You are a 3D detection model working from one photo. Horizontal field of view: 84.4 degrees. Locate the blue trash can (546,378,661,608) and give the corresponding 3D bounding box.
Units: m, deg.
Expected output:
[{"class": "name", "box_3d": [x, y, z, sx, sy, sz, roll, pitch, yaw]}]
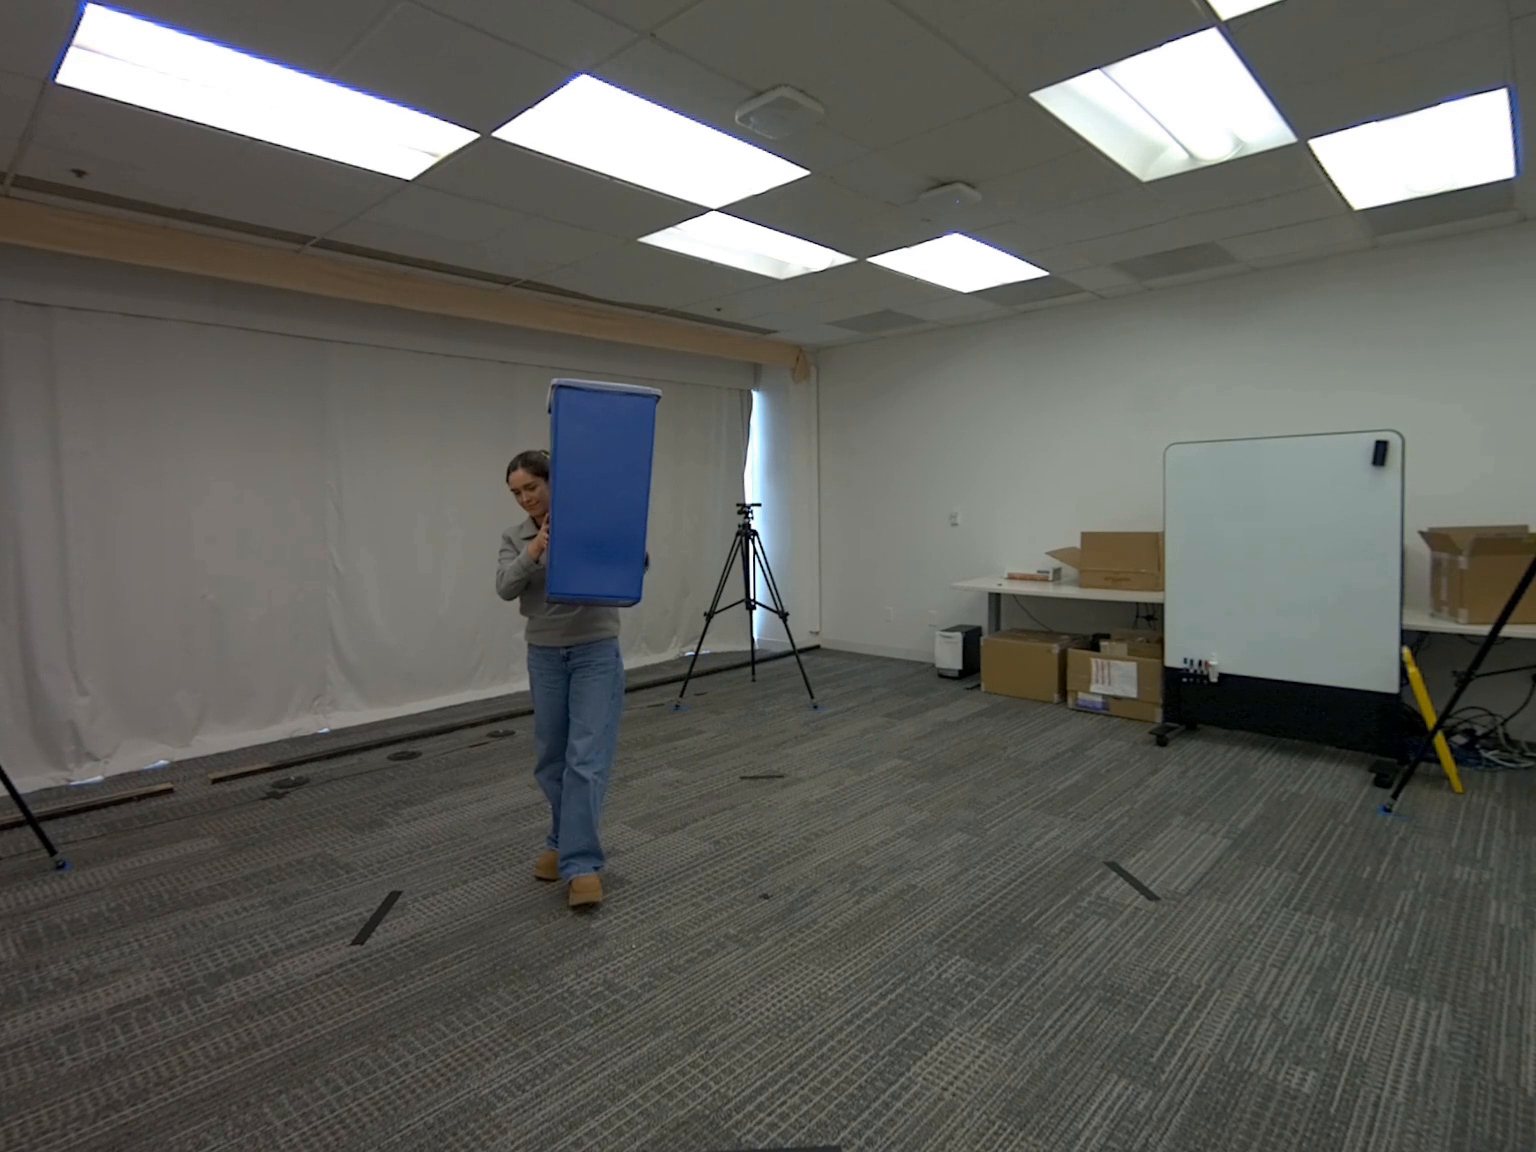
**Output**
[{"class": "blue trash can", "box_3d": [-0.577, -0.272, 2.894, 0.373, 0.717, 0.377, 3, -9, -13]}]
